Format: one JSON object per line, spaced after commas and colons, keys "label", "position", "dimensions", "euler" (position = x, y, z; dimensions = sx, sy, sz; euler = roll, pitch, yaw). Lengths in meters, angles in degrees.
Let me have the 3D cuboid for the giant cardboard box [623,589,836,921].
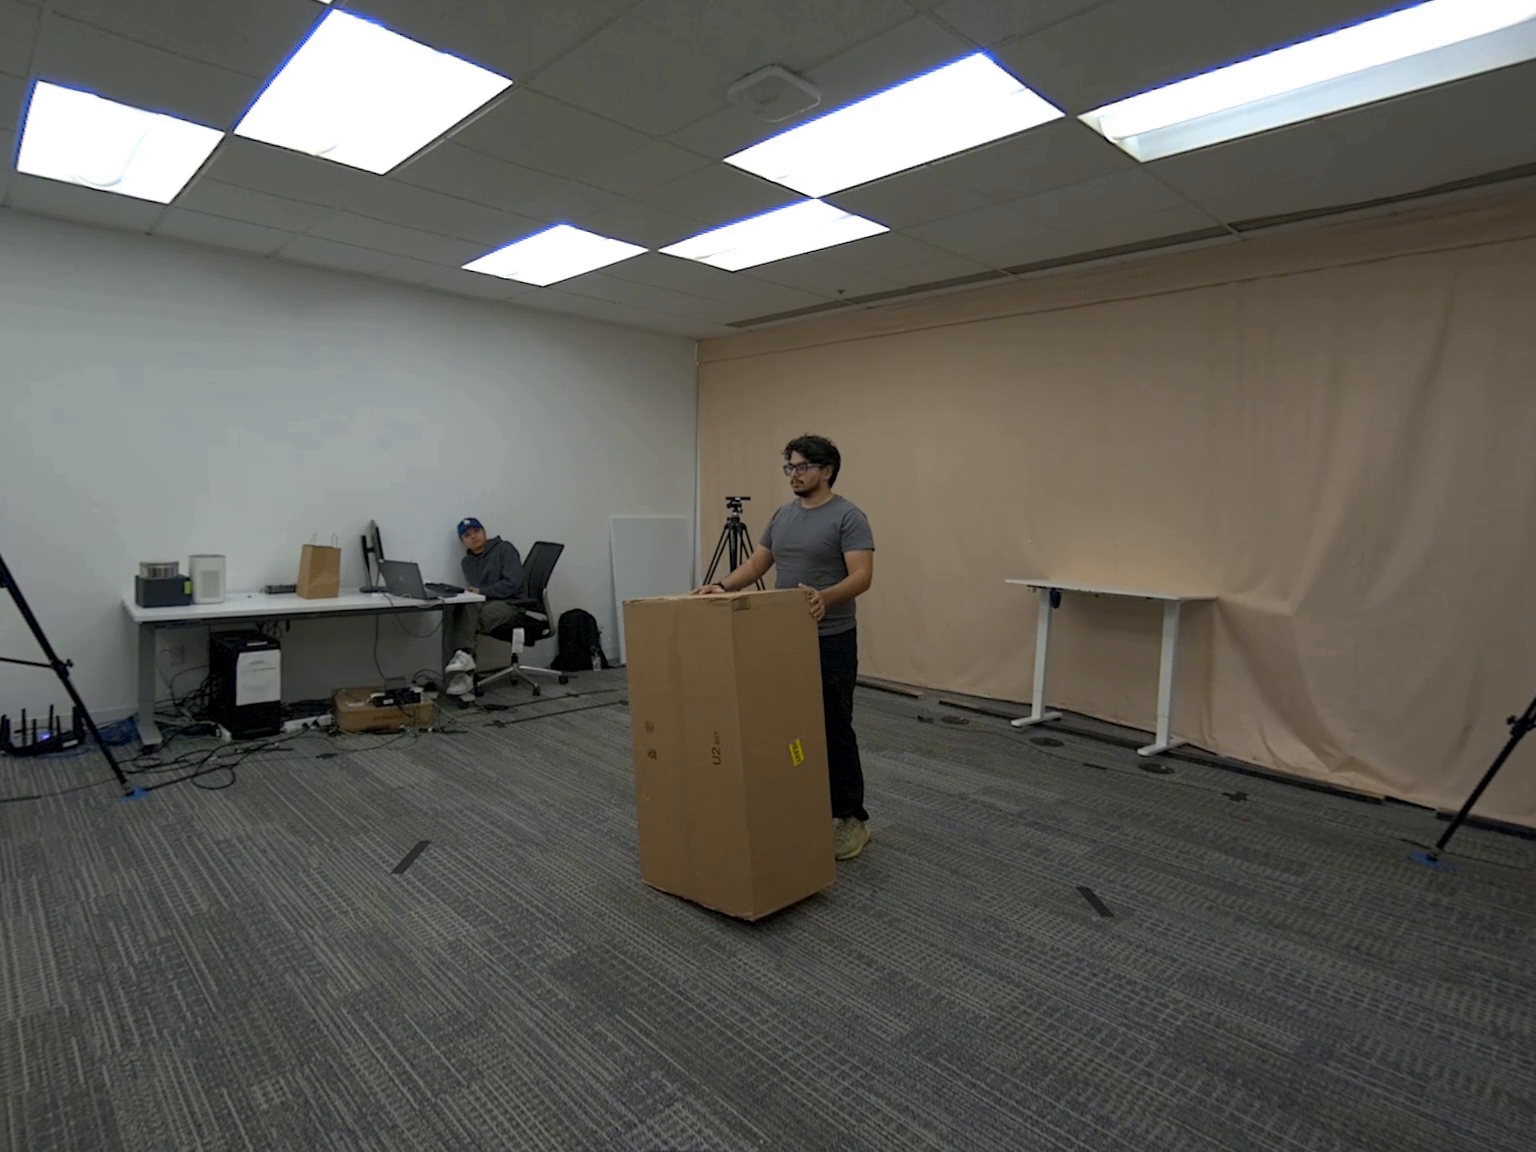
{"label": "giant cardboard box", "position": [-0.152, 0.581, 2.999], "dimensions": [0.590, 1.027, 0.416], "euler": [-6, -3, 44]}
